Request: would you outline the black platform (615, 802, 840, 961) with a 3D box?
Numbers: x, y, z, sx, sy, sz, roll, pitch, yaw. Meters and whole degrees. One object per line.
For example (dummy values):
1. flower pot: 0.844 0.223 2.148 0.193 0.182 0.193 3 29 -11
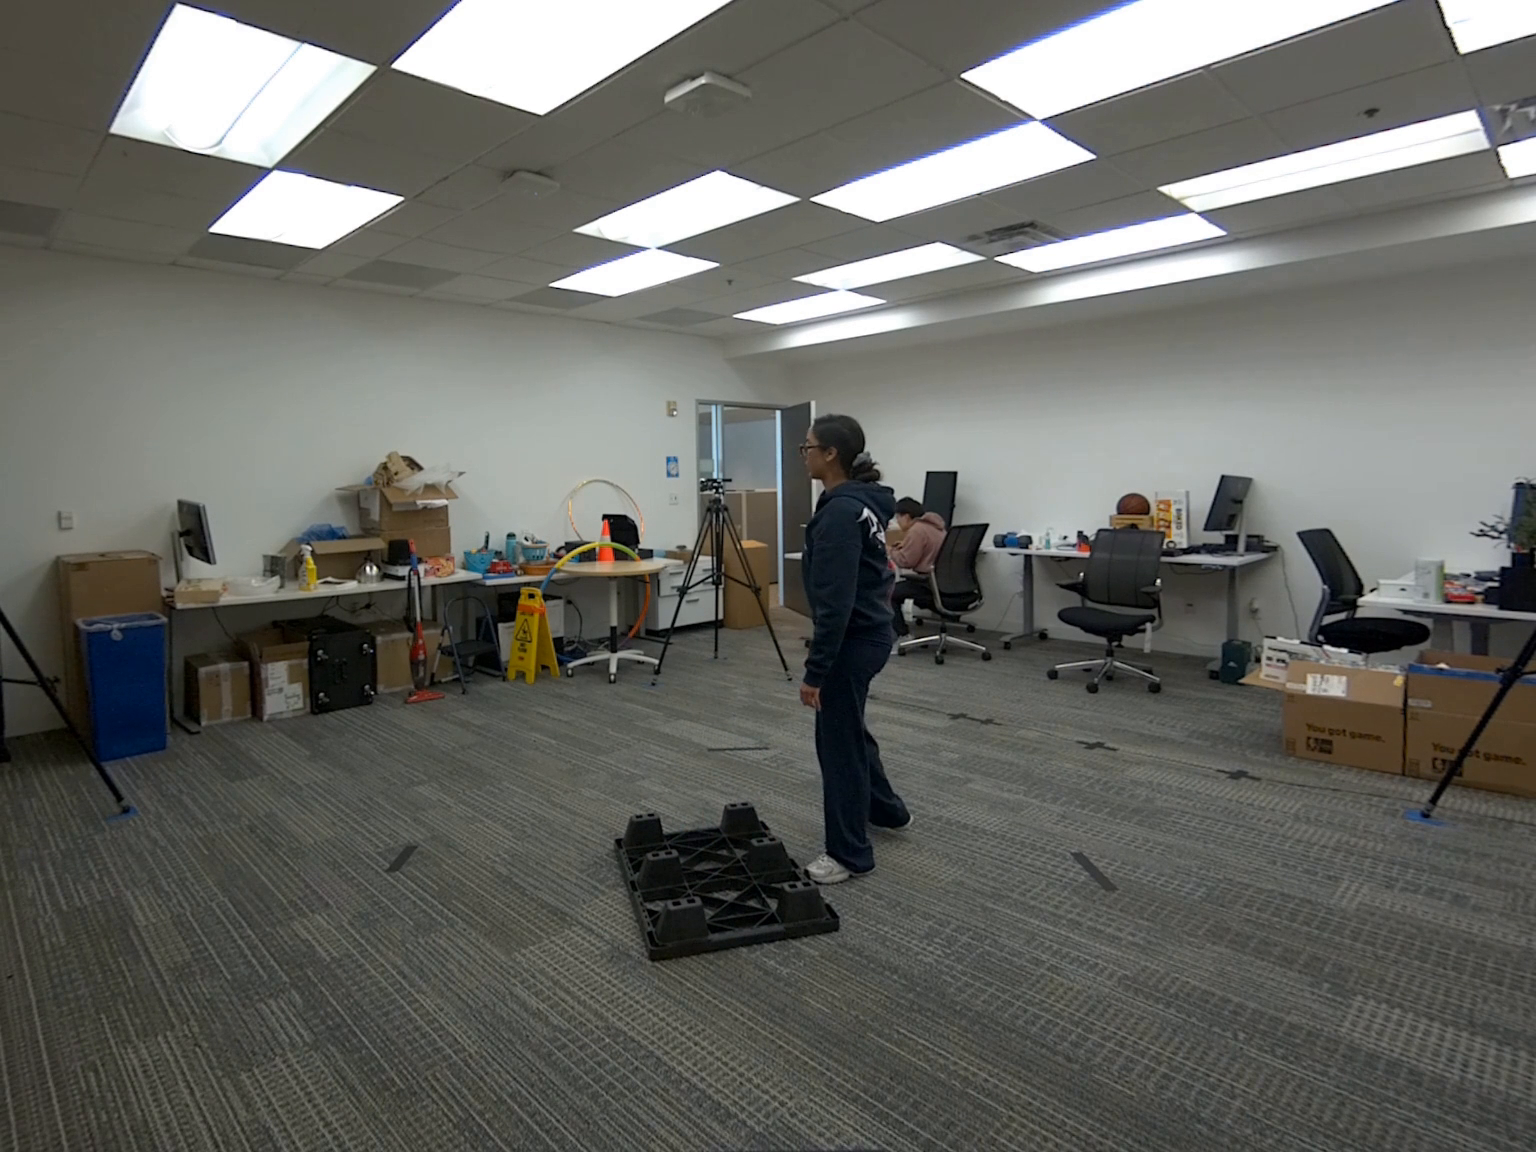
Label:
1. black platform: -0.177 0.997 2.933 0.596 0.142 0.822 -3 7 -17
